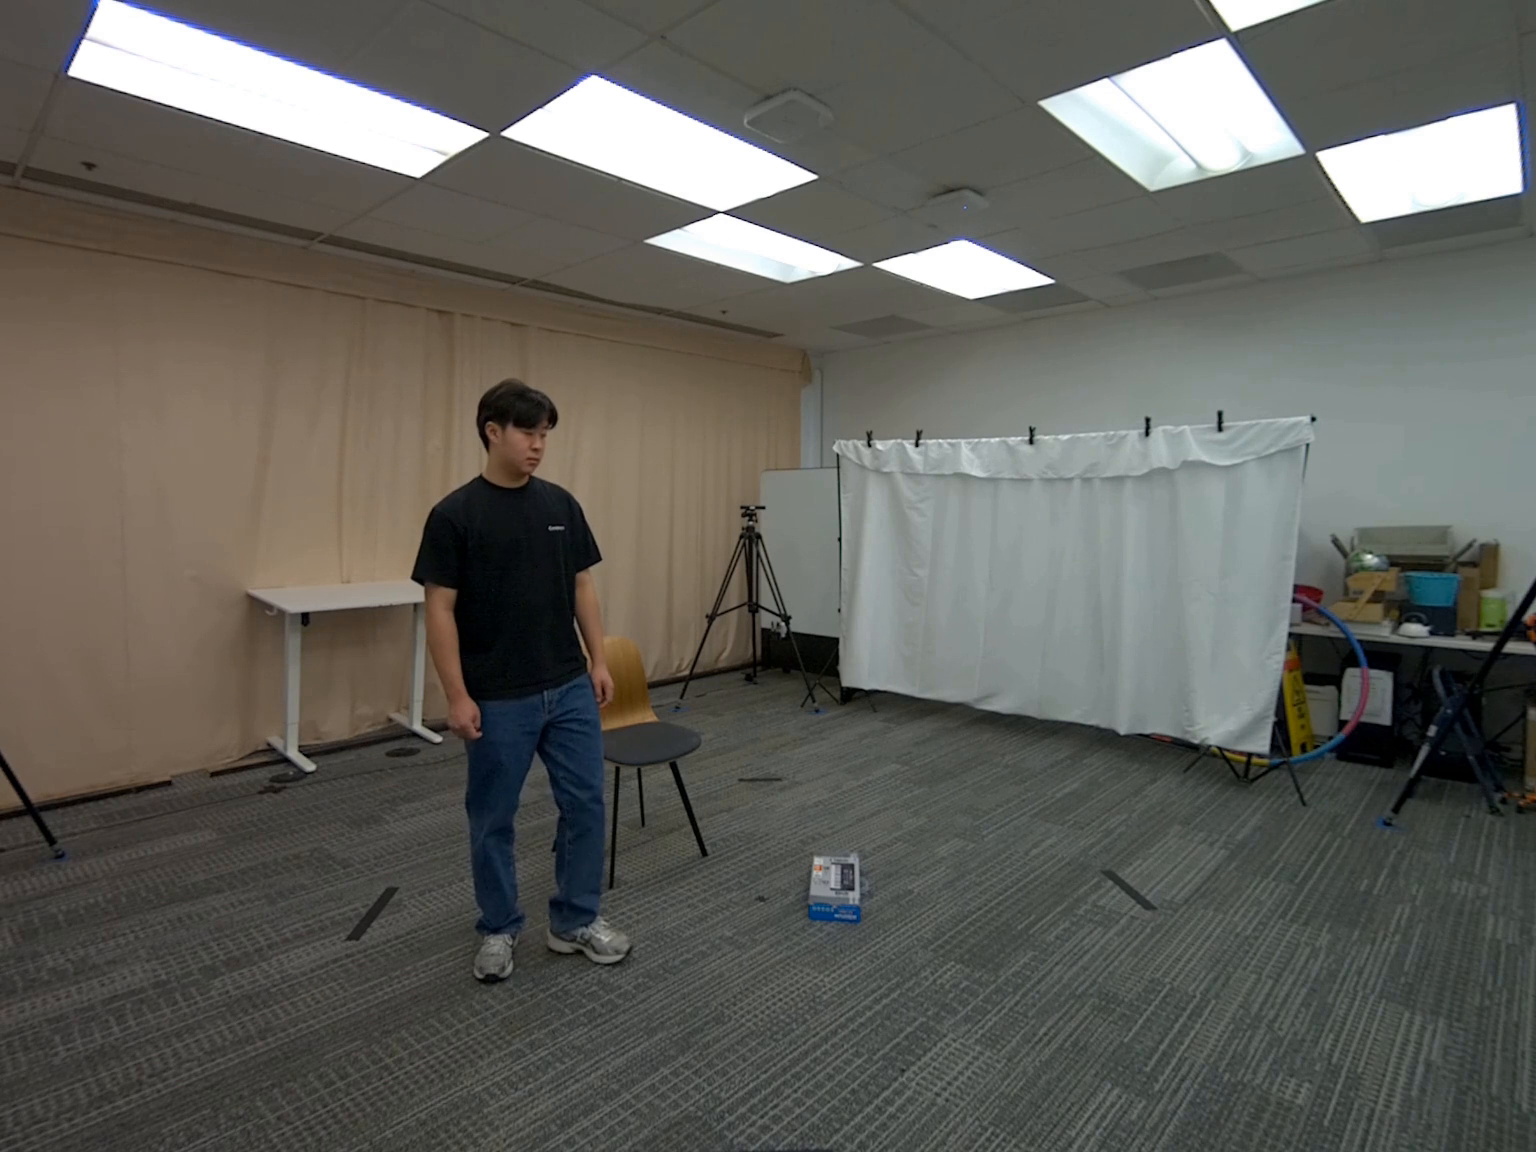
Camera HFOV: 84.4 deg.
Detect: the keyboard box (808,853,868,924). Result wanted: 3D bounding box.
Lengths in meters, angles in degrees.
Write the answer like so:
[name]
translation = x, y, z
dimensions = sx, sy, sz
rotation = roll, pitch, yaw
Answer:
[keyboard box]
translation = 0.247, 1.111, 3.033
dimensions = 0.177, 0.059, 0.434
rotation = 0, 5, 6
